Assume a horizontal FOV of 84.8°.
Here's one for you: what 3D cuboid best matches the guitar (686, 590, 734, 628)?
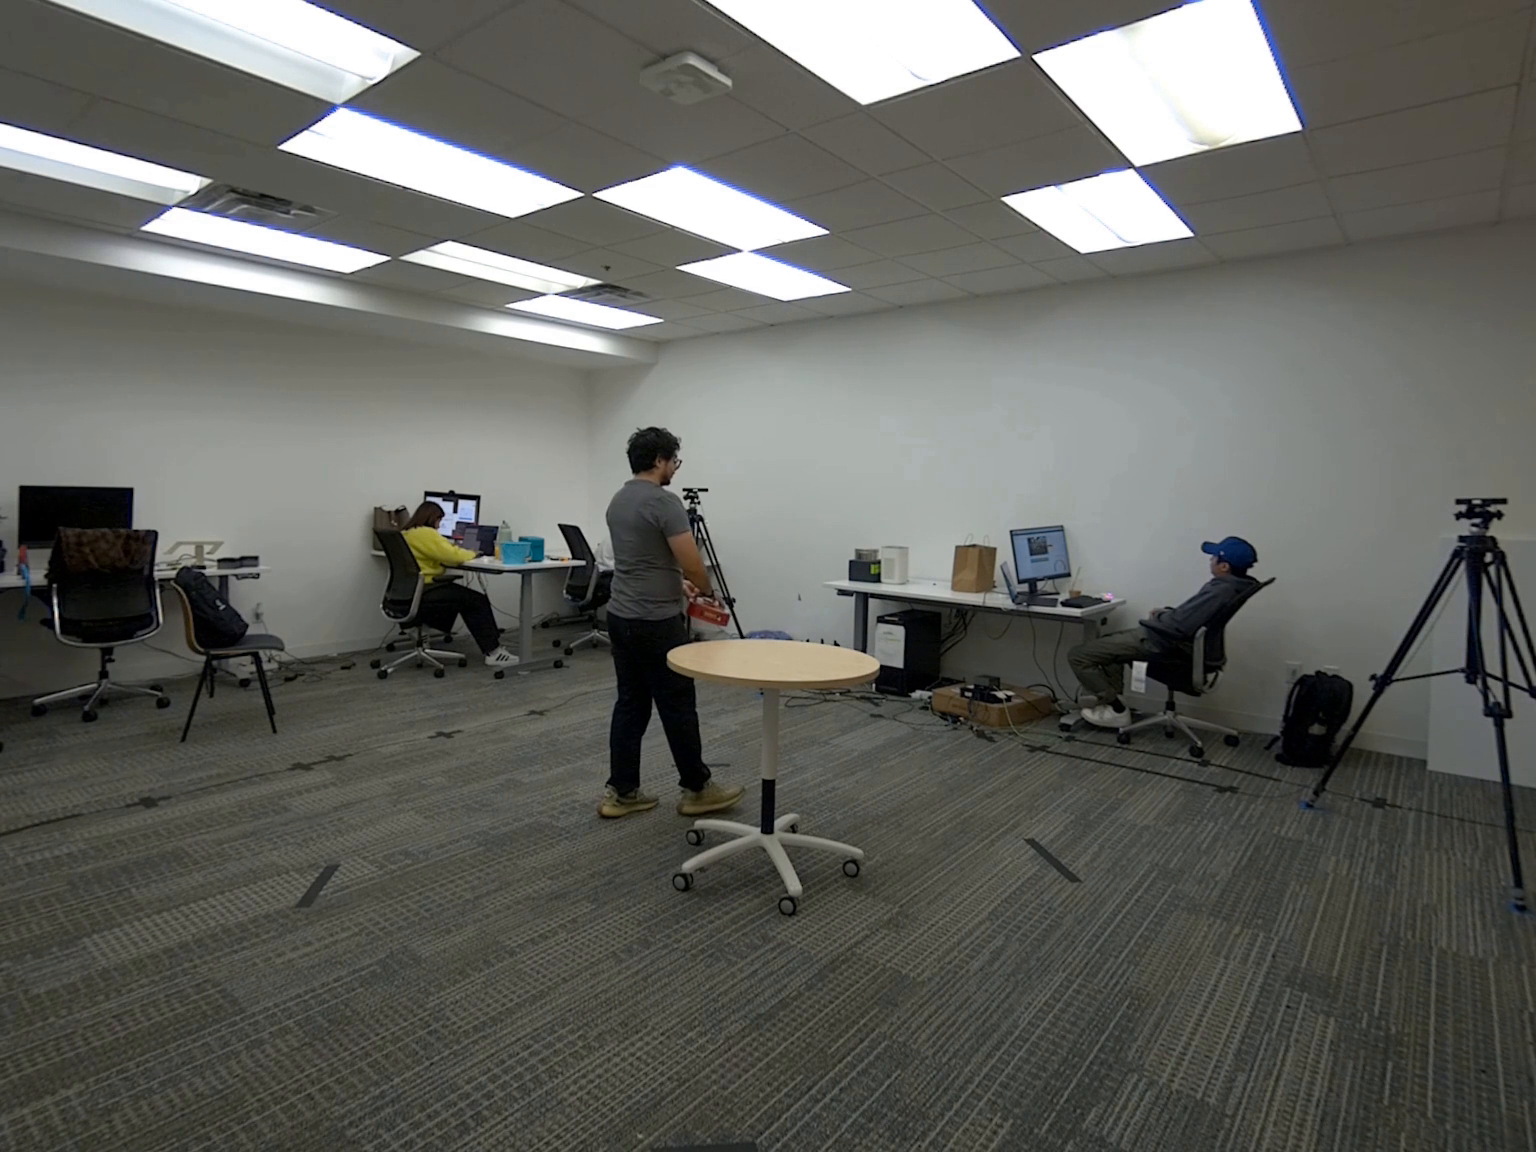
[{"bbox_3d":[-0.267,0.123,3.884,0.192,0.070,0.501,26,3,-5],"label":"guitar"}]
